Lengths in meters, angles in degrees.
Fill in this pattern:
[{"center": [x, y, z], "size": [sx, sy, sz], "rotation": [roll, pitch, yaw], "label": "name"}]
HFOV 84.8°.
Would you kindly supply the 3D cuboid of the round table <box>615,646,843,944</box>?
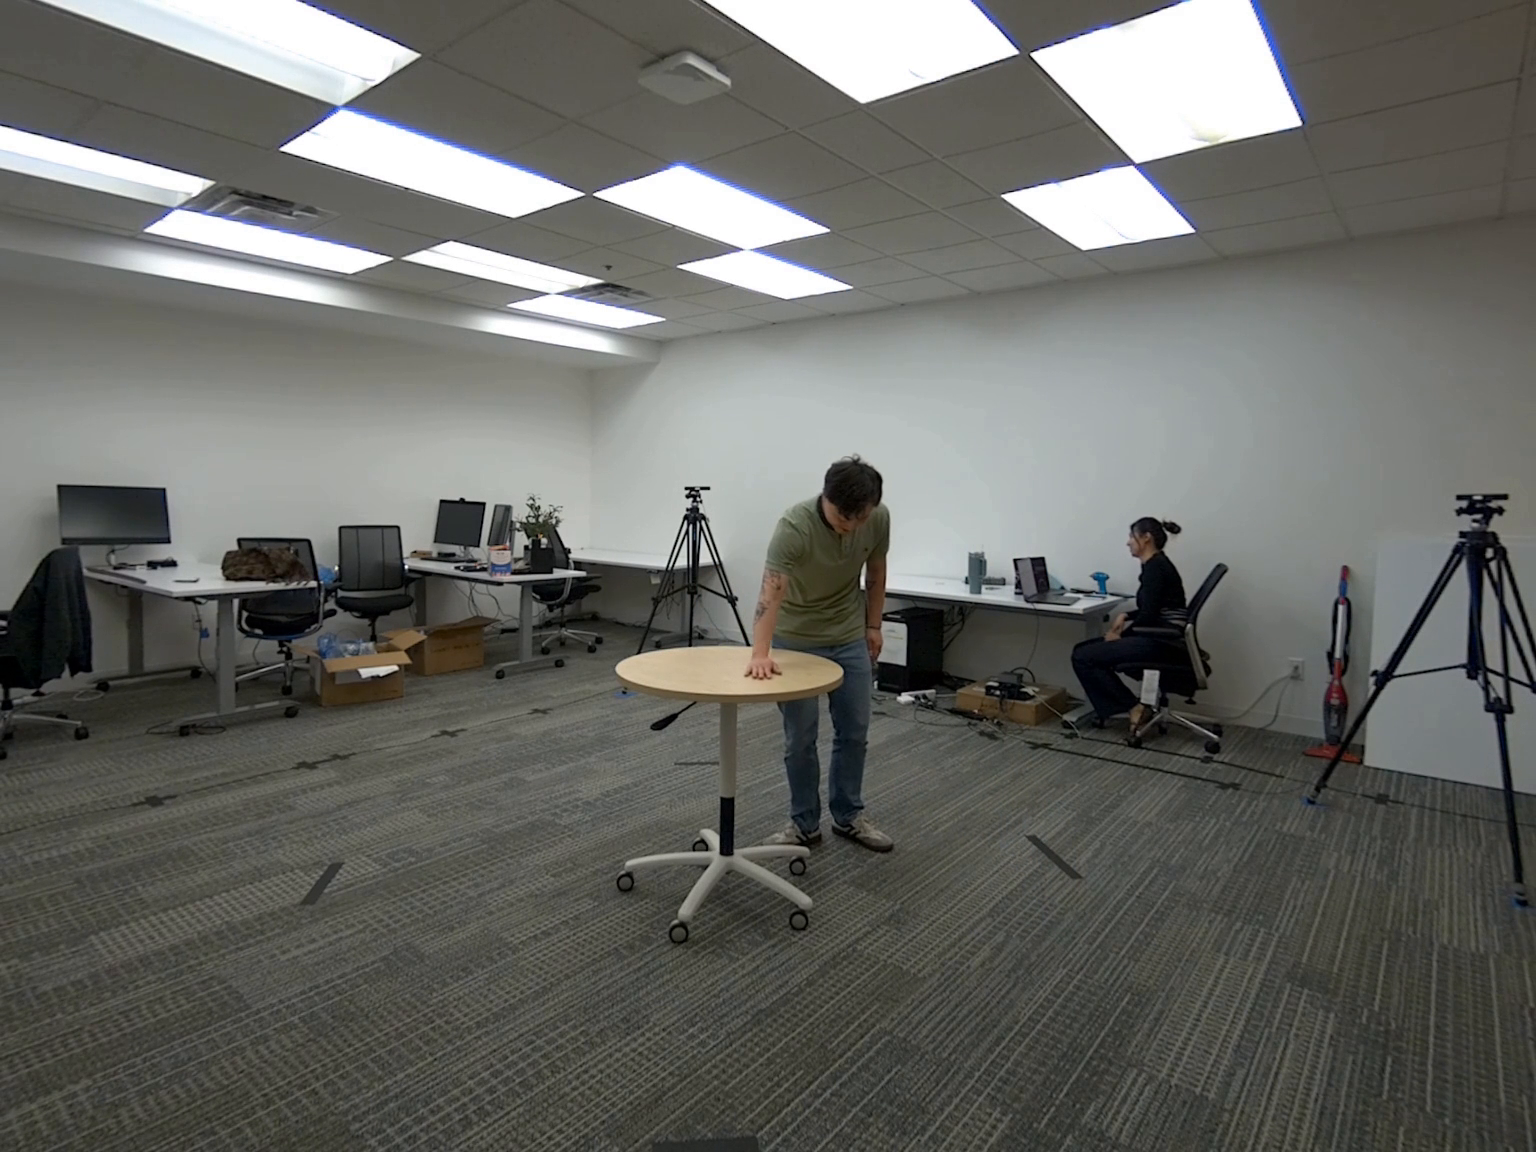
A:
[{"center": [-0.147, 0.699, 2.890], "size": [0.763, 0.791, 0.768], "rotation": [1, 4, -2], "label": "round table"}]
